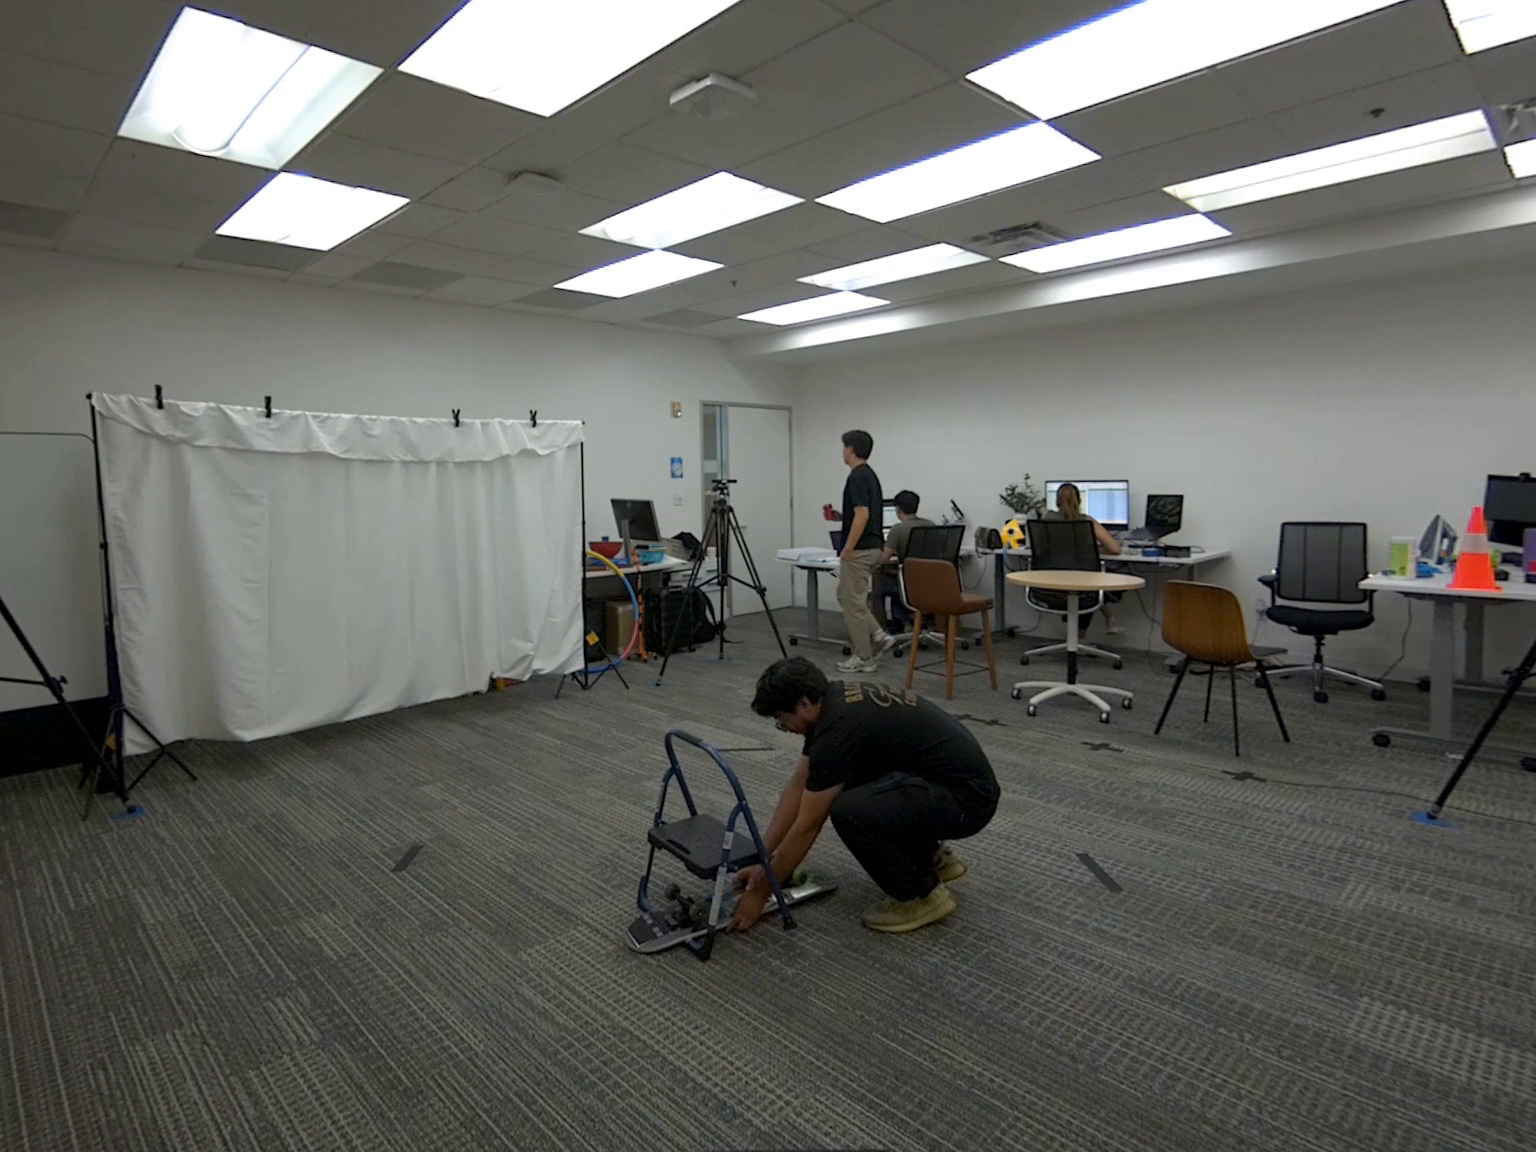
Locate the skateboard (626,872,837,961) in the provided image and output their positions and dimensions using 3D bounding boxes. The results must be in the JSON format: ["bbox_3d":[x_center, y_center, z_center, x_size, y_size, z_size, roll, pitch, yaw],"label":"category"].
[{"bbox_3d":[-0.088,1.039,2.767,0.766,0.110,0.199,-5,7,-35],"label":"skateboard"}]
